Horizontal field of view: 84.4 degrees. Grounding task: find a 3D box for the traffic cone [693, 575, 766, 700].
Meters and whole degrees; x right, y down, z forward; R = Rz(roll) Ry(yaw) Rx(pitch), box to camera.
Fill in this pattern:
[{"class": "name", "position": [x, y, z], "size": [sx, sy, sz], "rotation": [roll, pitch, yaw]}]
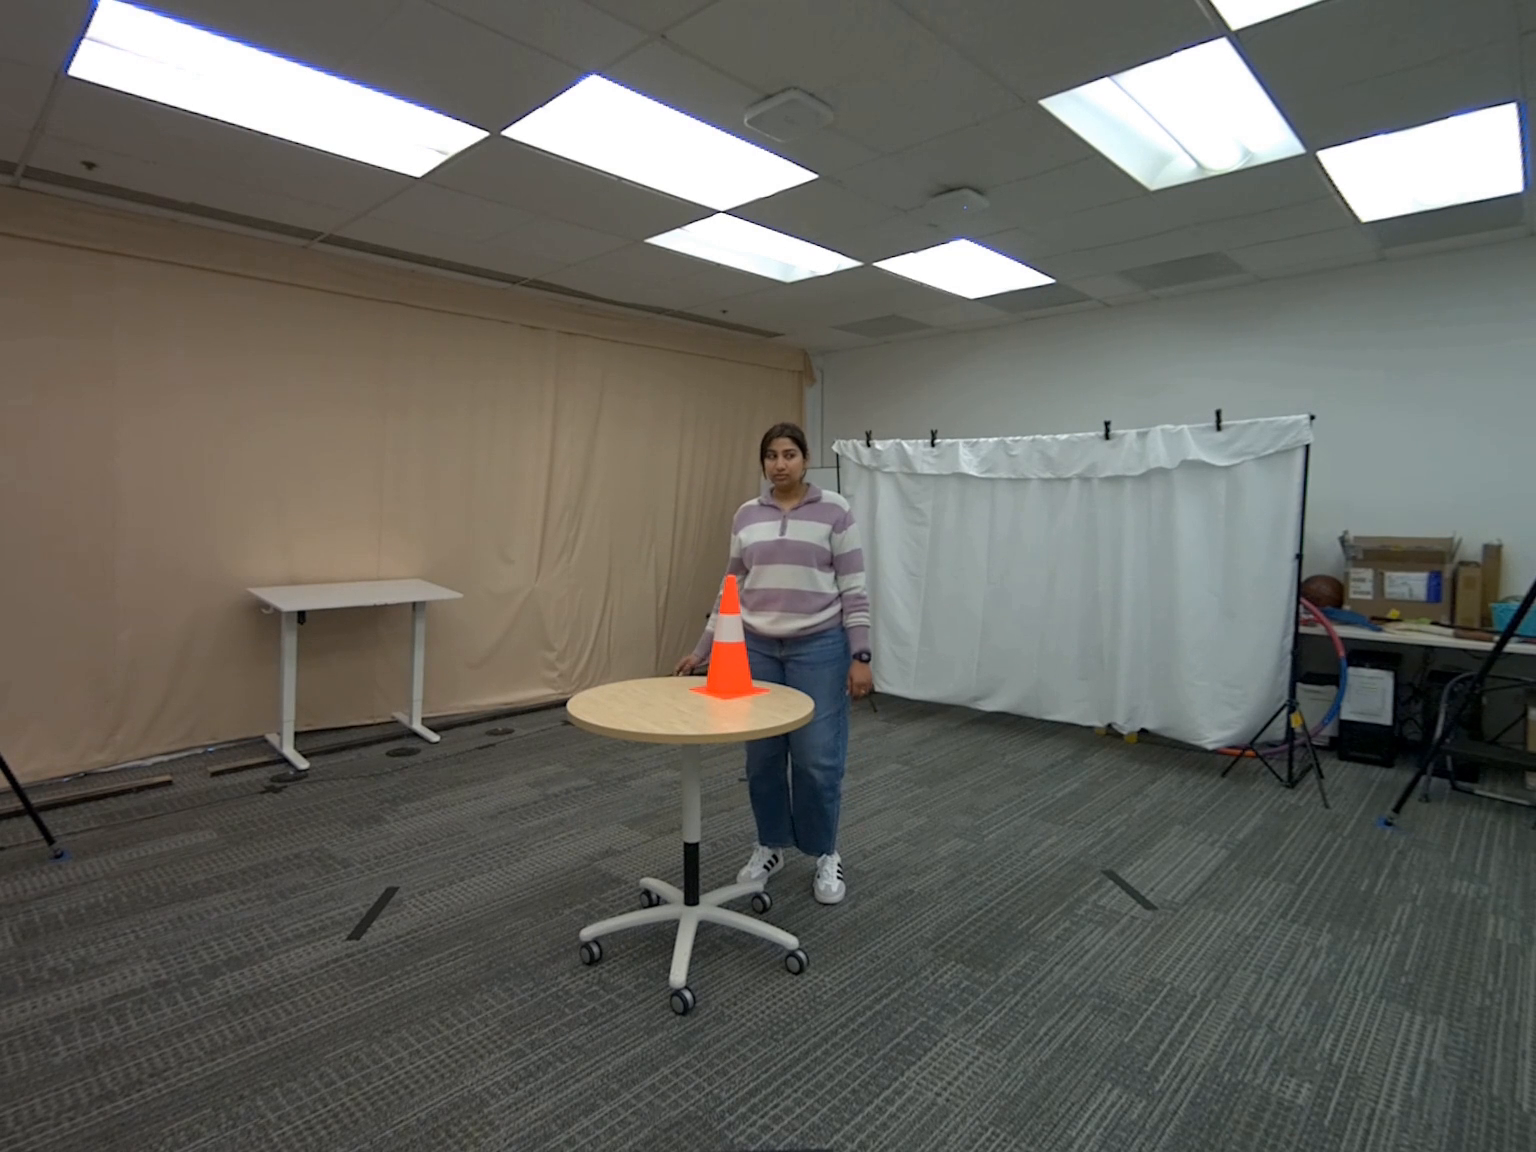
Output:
[{"class": "traffic cone", "position": [-0.125, 0.190, 2.777], "size": [0.210, 0.383, 0.199], "rotation": [5, 5, 39]}]
